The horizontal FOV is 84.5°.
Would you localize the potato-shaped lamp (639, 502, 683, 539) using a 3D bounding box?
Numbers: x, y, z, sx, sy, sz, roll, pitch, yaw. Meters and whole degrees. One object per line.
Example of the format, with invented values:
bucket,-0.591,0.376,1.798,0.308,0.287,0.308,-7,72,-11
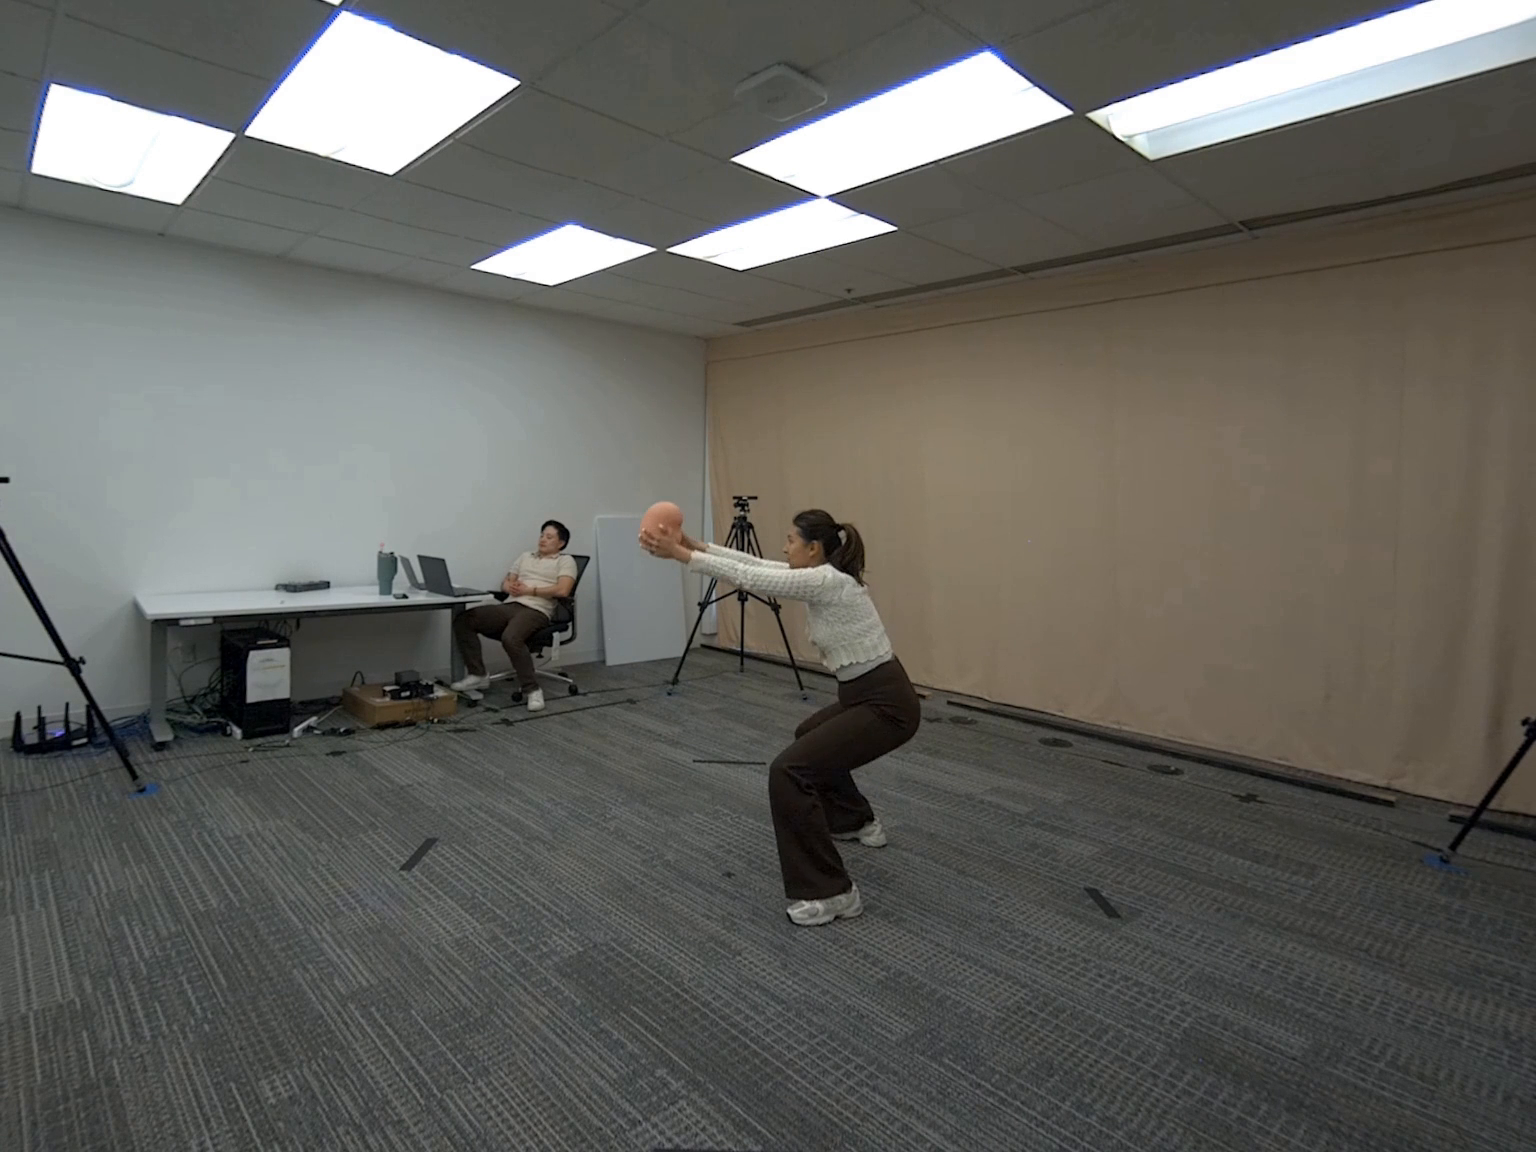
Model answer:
potato-shaped lamp,-0.401,-0.191,3.237,0.174,0.197,0.163,29,14,12
